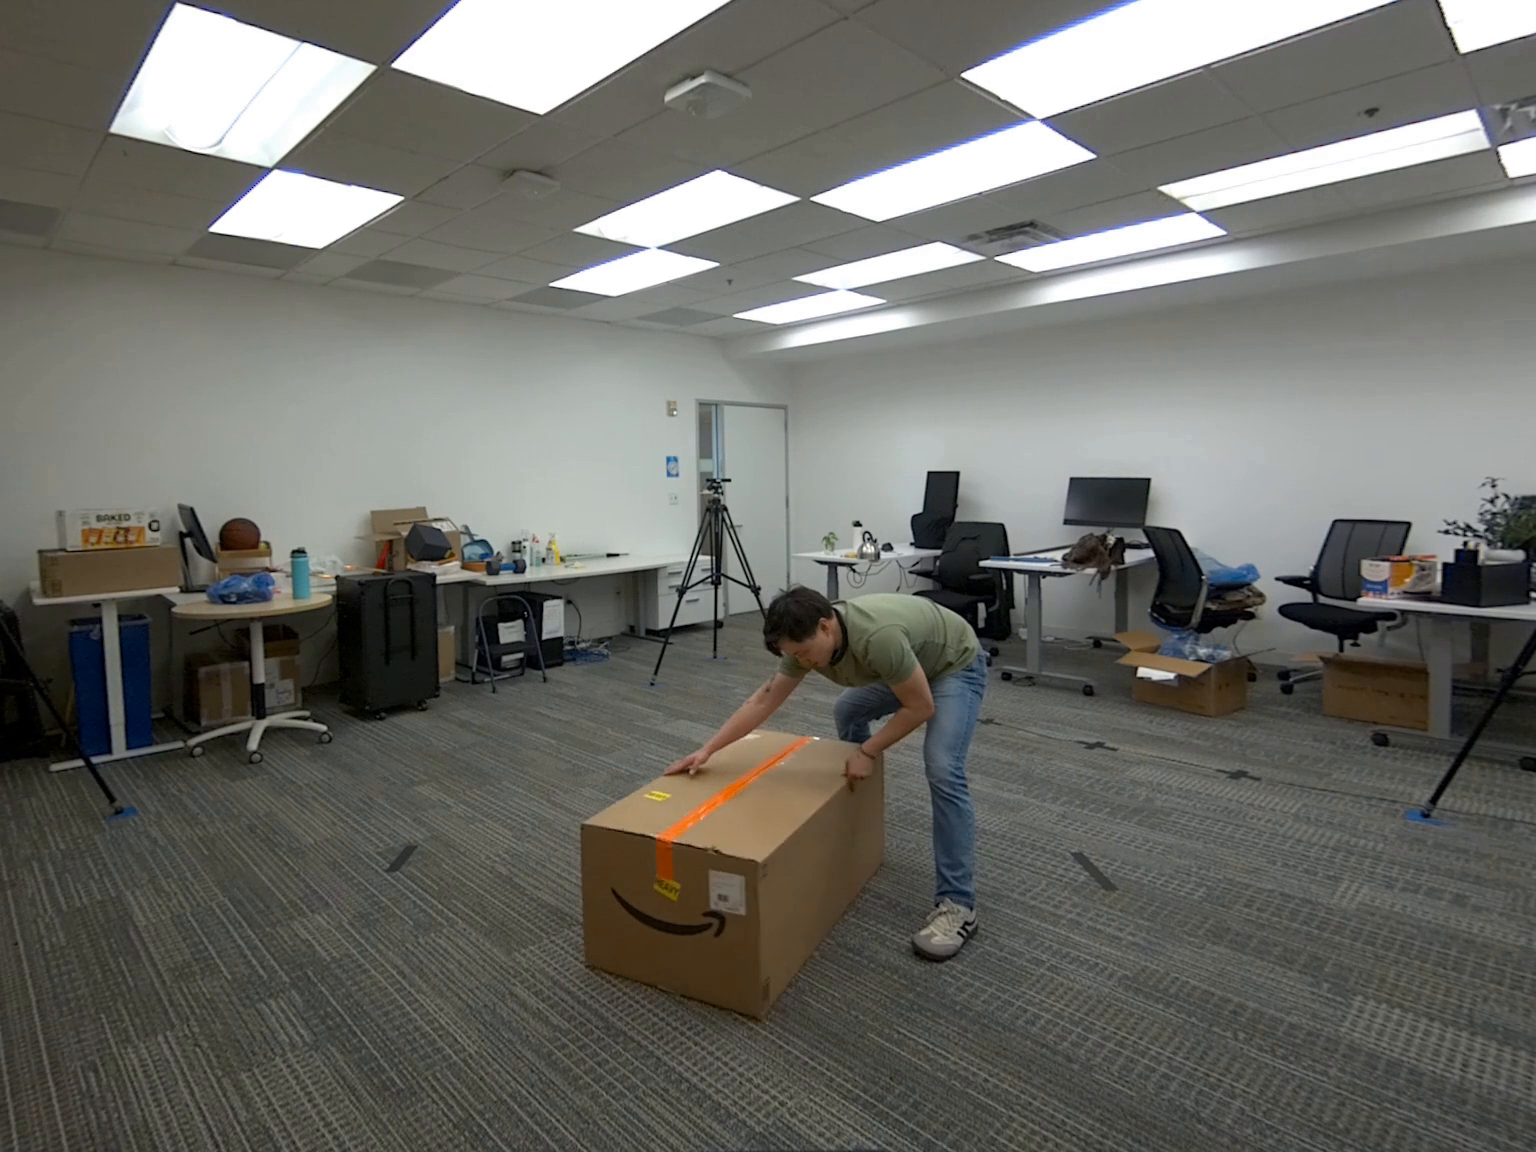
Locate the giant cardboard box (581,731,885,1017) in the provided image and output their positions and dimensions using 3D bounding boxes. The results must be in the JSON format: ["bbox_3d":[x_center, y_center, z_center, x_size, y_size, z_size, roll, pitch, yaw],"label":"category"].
[{"bbox_3d":[-0.062,0.869,2.773,0.591,0.424,1.006,1,6,26],"label":"giant cardboard box"}]
